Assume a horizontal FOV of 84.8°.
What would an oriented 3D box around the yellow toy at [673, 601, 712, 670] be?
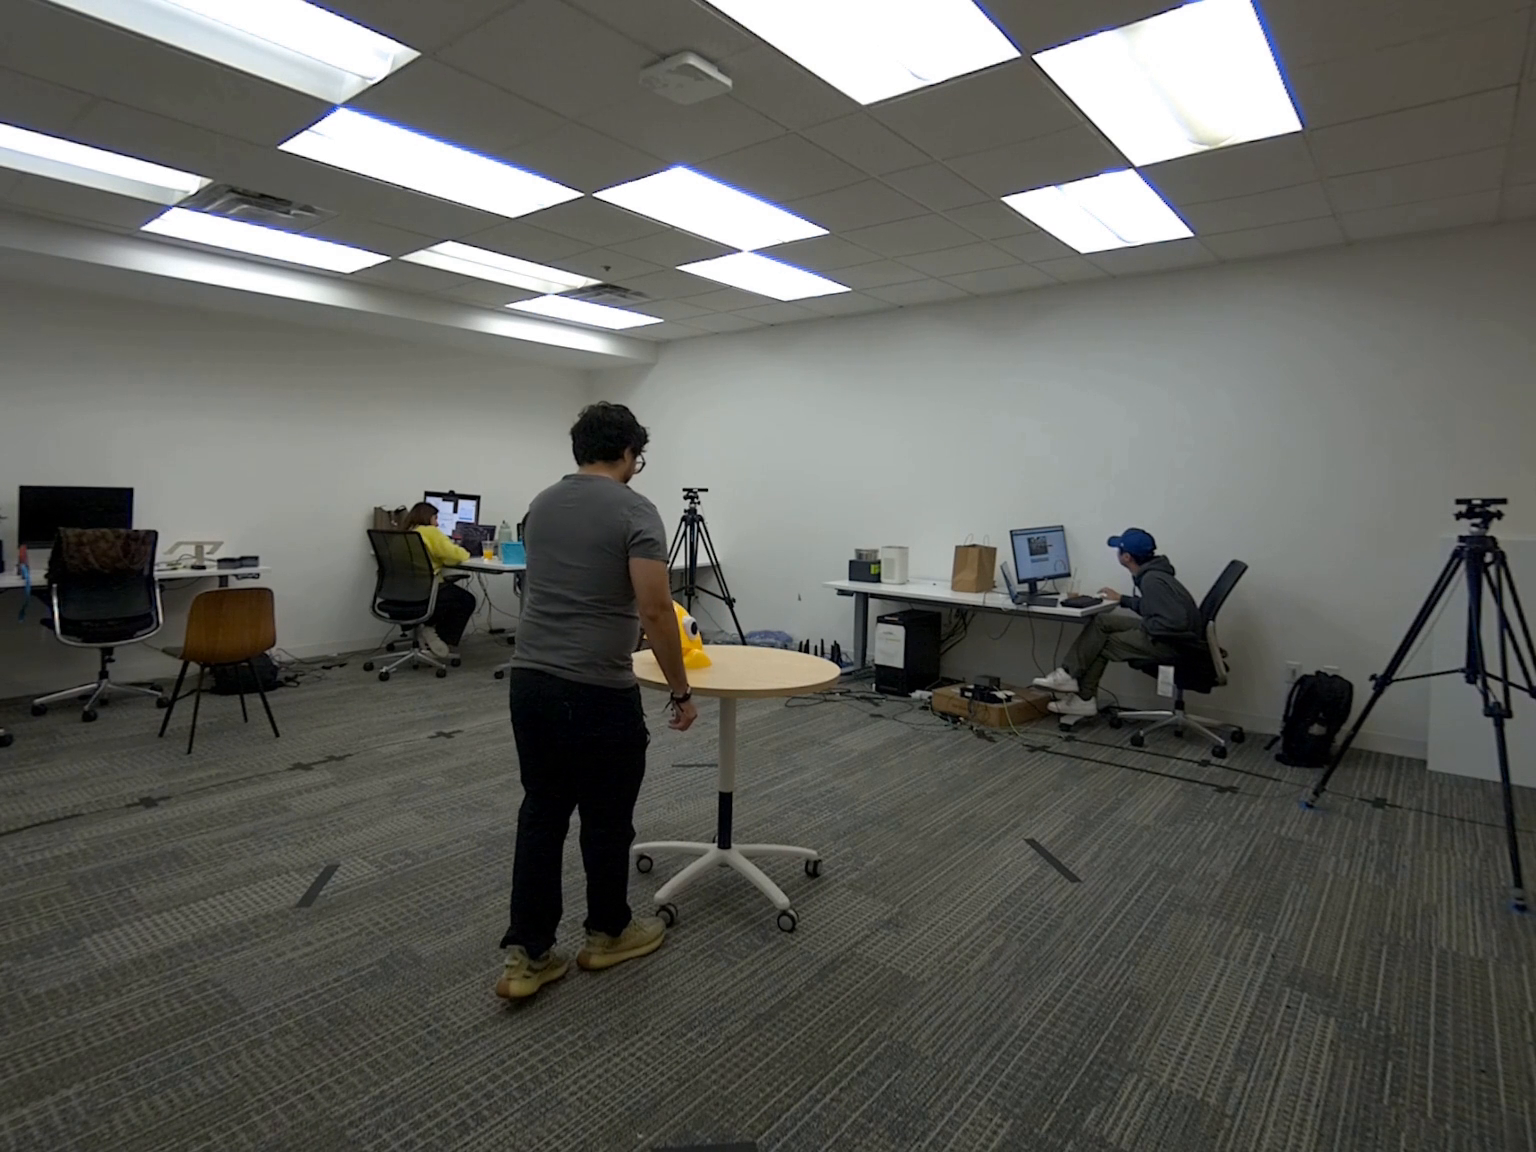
[{"bbox_3d":[-0.313,0.185,2.949,0.187,0.230,0.211,-2,4,-35],"label":"yellow toy"}]
